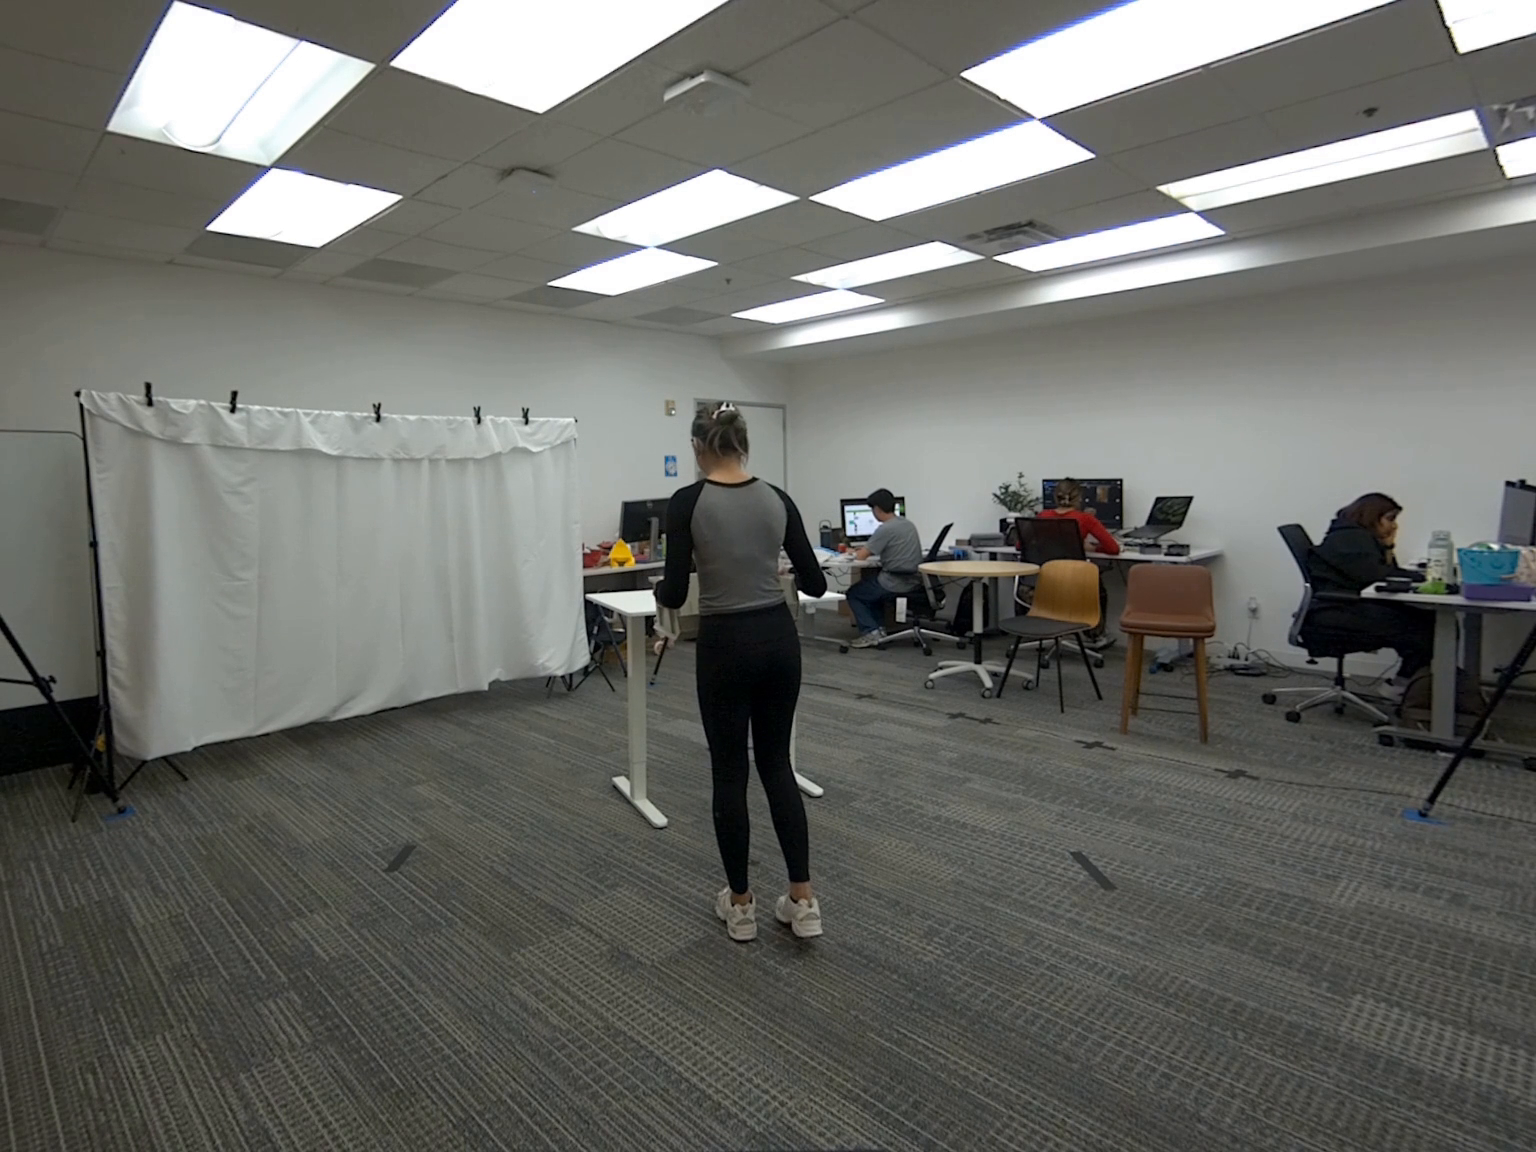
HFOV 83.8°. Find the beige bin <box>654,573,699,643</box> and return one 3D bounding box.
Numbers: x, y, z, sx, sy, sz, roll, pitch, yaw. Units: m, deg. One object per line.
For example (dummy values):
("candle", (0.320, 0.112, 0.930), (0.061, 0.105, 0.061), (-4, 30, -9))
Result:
("beige bin", (-0.153, 0.093, 2.897), (0.416, 0.188, 0.384), (-5, 4, -18))
